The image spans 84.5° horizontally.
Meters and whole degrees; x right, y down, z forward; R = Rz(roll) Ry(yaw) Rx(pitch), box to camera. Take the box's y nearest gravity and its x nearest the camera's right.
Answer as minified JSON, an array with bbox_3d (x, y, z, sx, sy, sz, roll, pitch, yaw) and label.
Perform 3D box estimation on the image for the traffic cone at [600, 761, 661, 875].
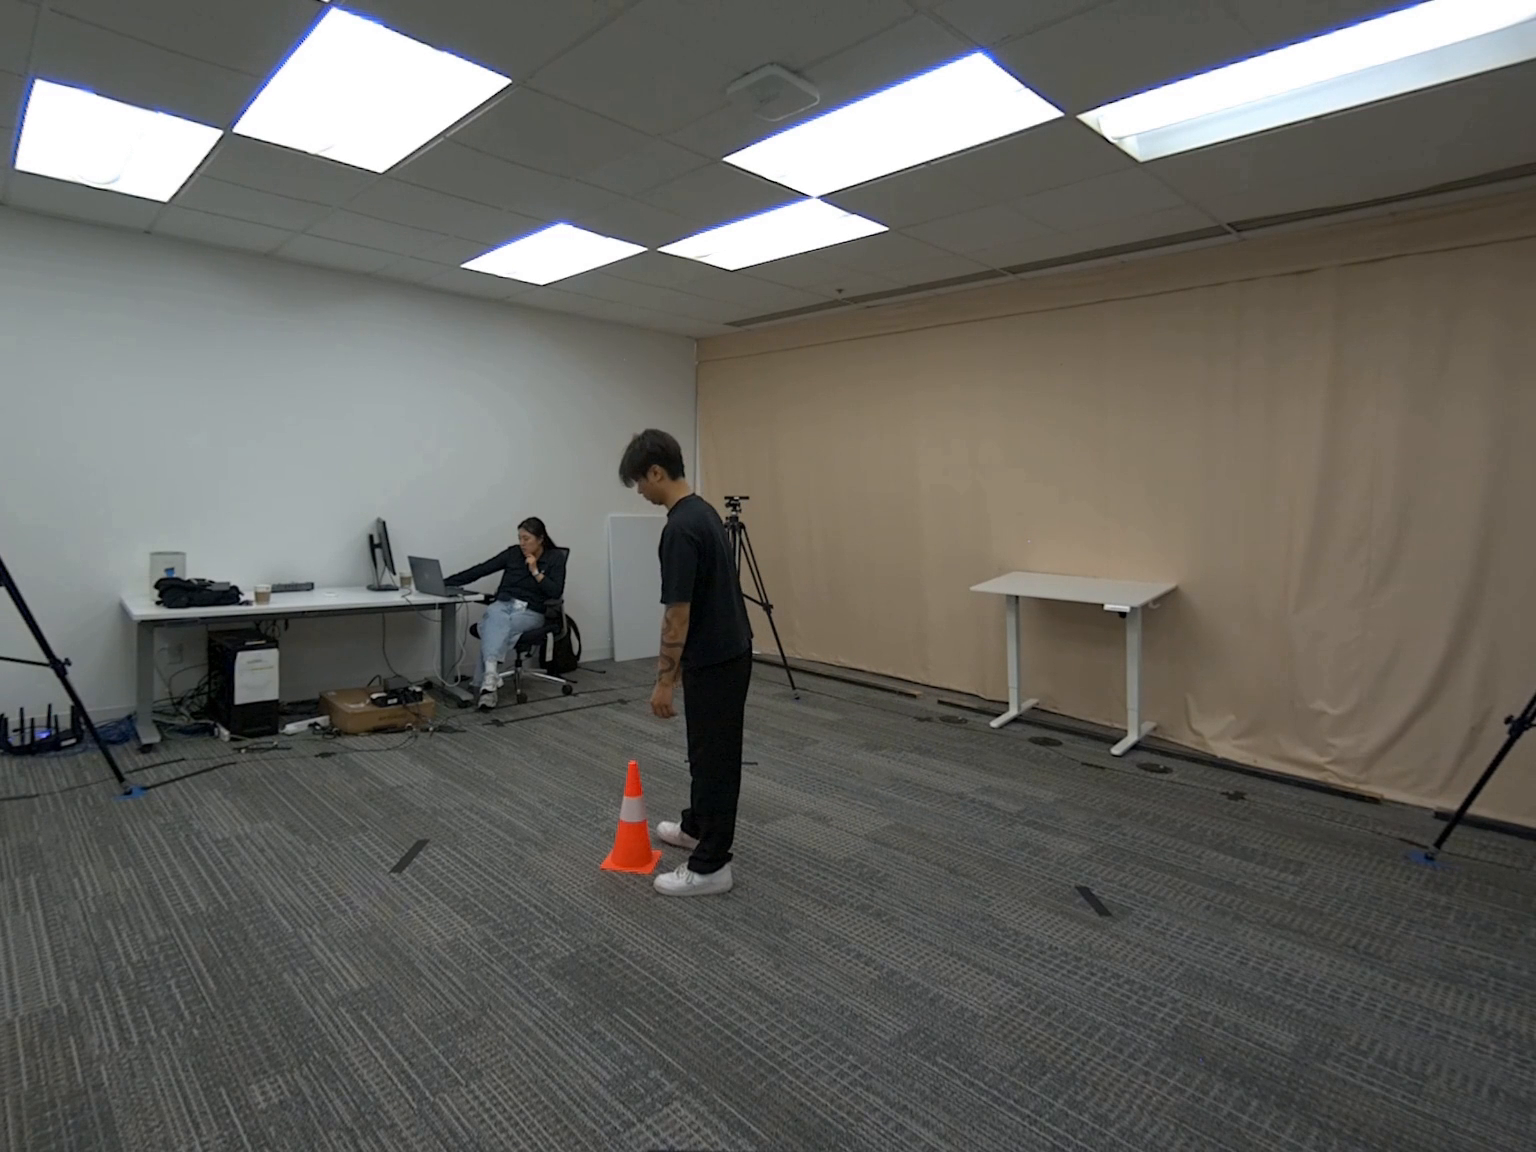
[{"bbox_3d":[-0.514,0.894,3.214,0.204,0.383,0.204,5,3,5],"label":"traffic cone"}]
